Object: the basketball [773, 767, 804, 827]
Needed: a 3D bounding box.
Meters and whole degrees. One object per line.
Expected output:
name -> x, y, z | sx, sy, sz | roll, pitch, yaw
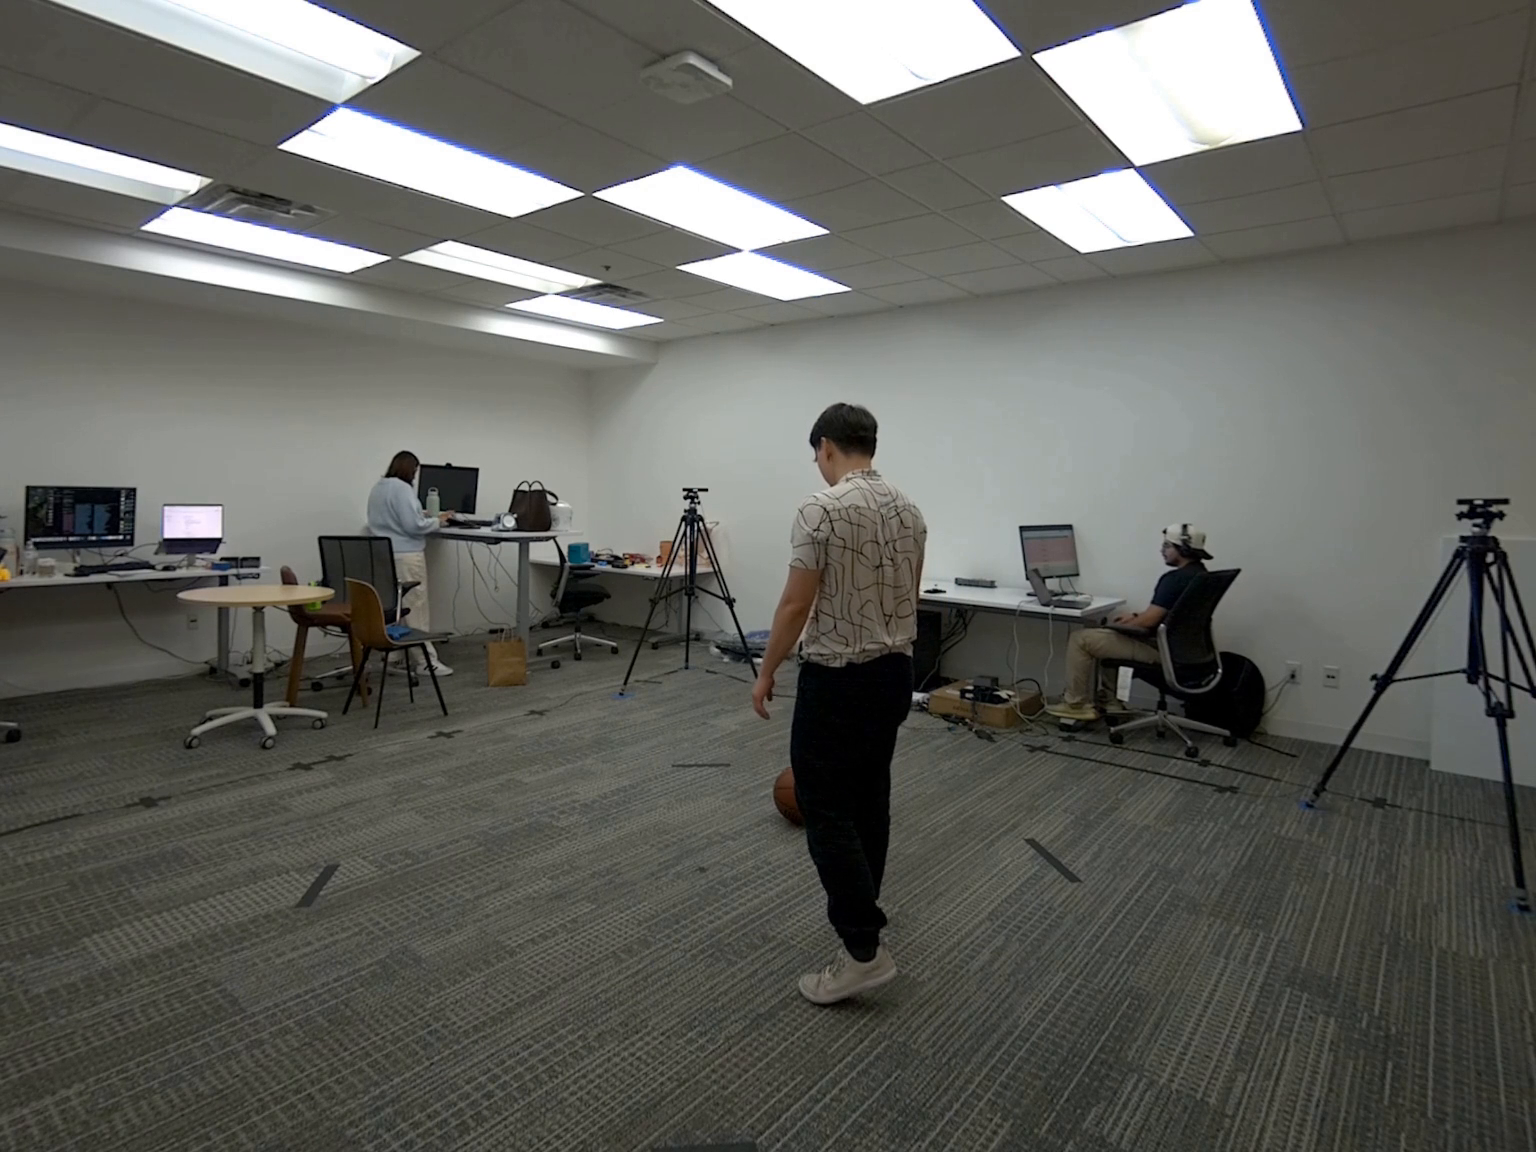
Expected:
basketball -> 0.132, 0.907, 3.578 | 0.235, 0.235, 0.237 | 1, 4, -2
